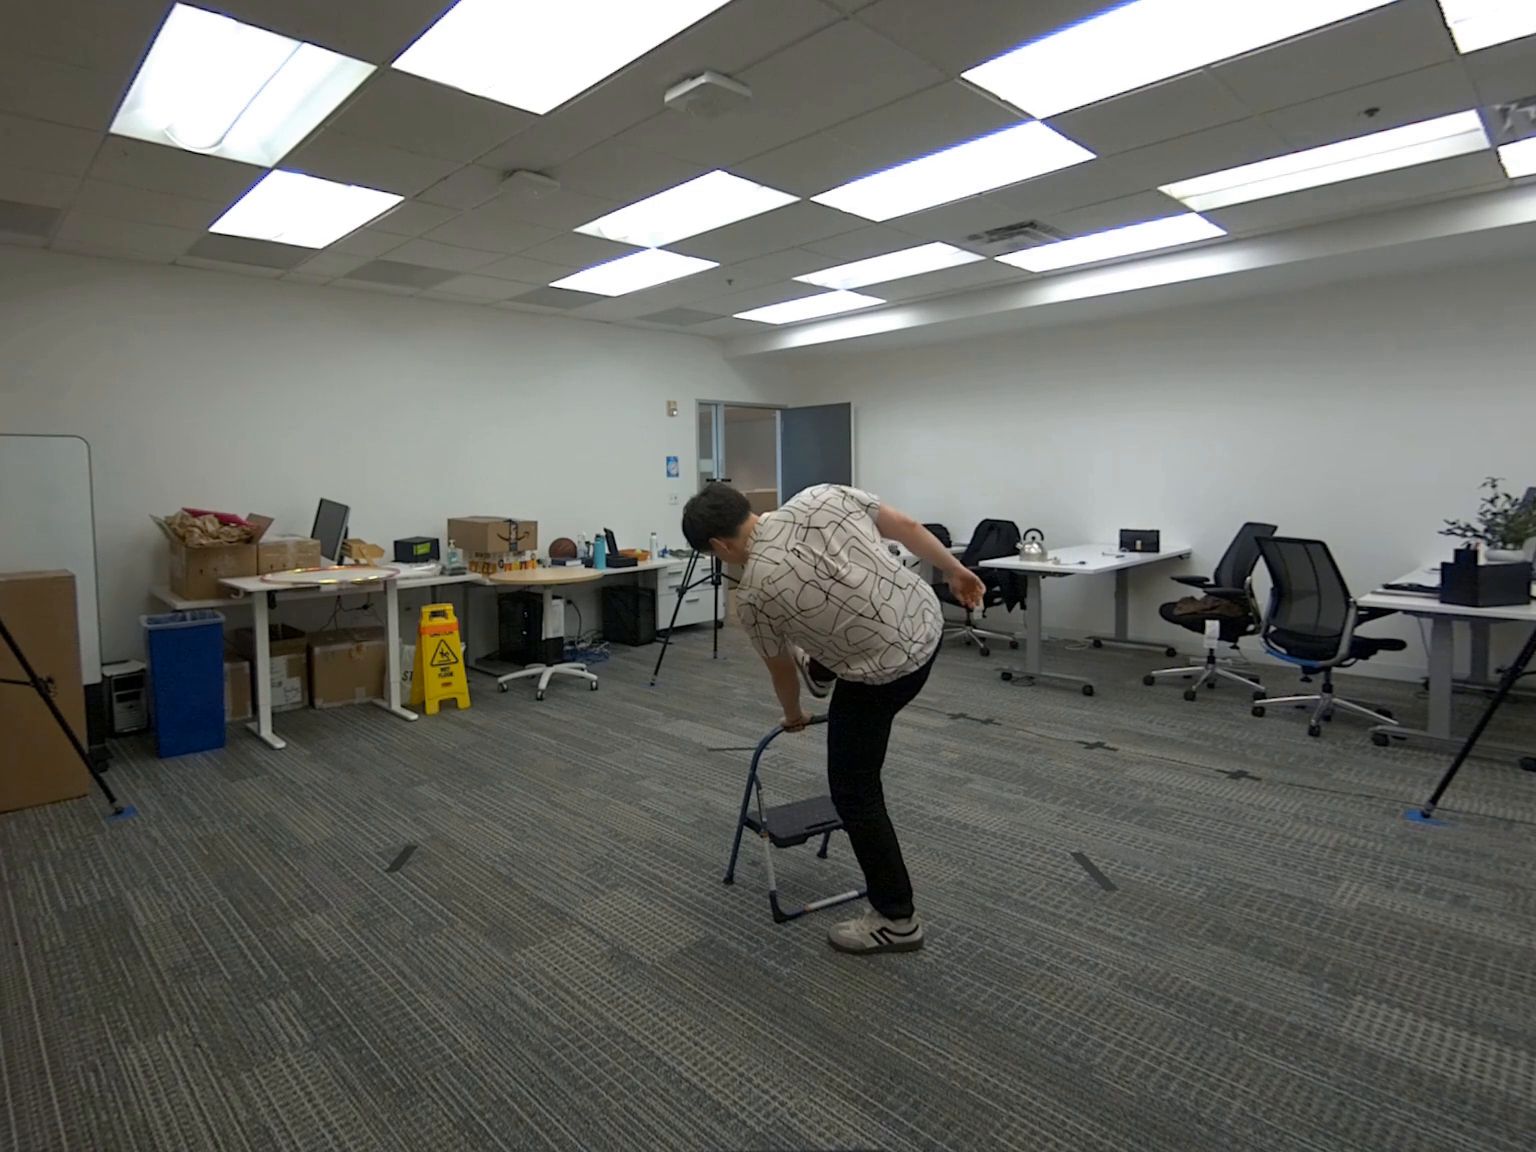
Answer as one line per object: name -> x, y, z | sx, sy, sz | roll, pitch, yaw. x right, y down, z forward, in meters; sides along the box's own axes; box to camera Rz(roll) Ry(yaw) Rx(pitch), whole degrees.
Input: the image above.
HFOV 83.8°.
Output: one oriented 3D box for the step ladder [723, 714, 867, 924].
step ladder -> 0.110, 0.757, 2.901 | 0.420, 0.603, 0.359 | -3, 5, -31
